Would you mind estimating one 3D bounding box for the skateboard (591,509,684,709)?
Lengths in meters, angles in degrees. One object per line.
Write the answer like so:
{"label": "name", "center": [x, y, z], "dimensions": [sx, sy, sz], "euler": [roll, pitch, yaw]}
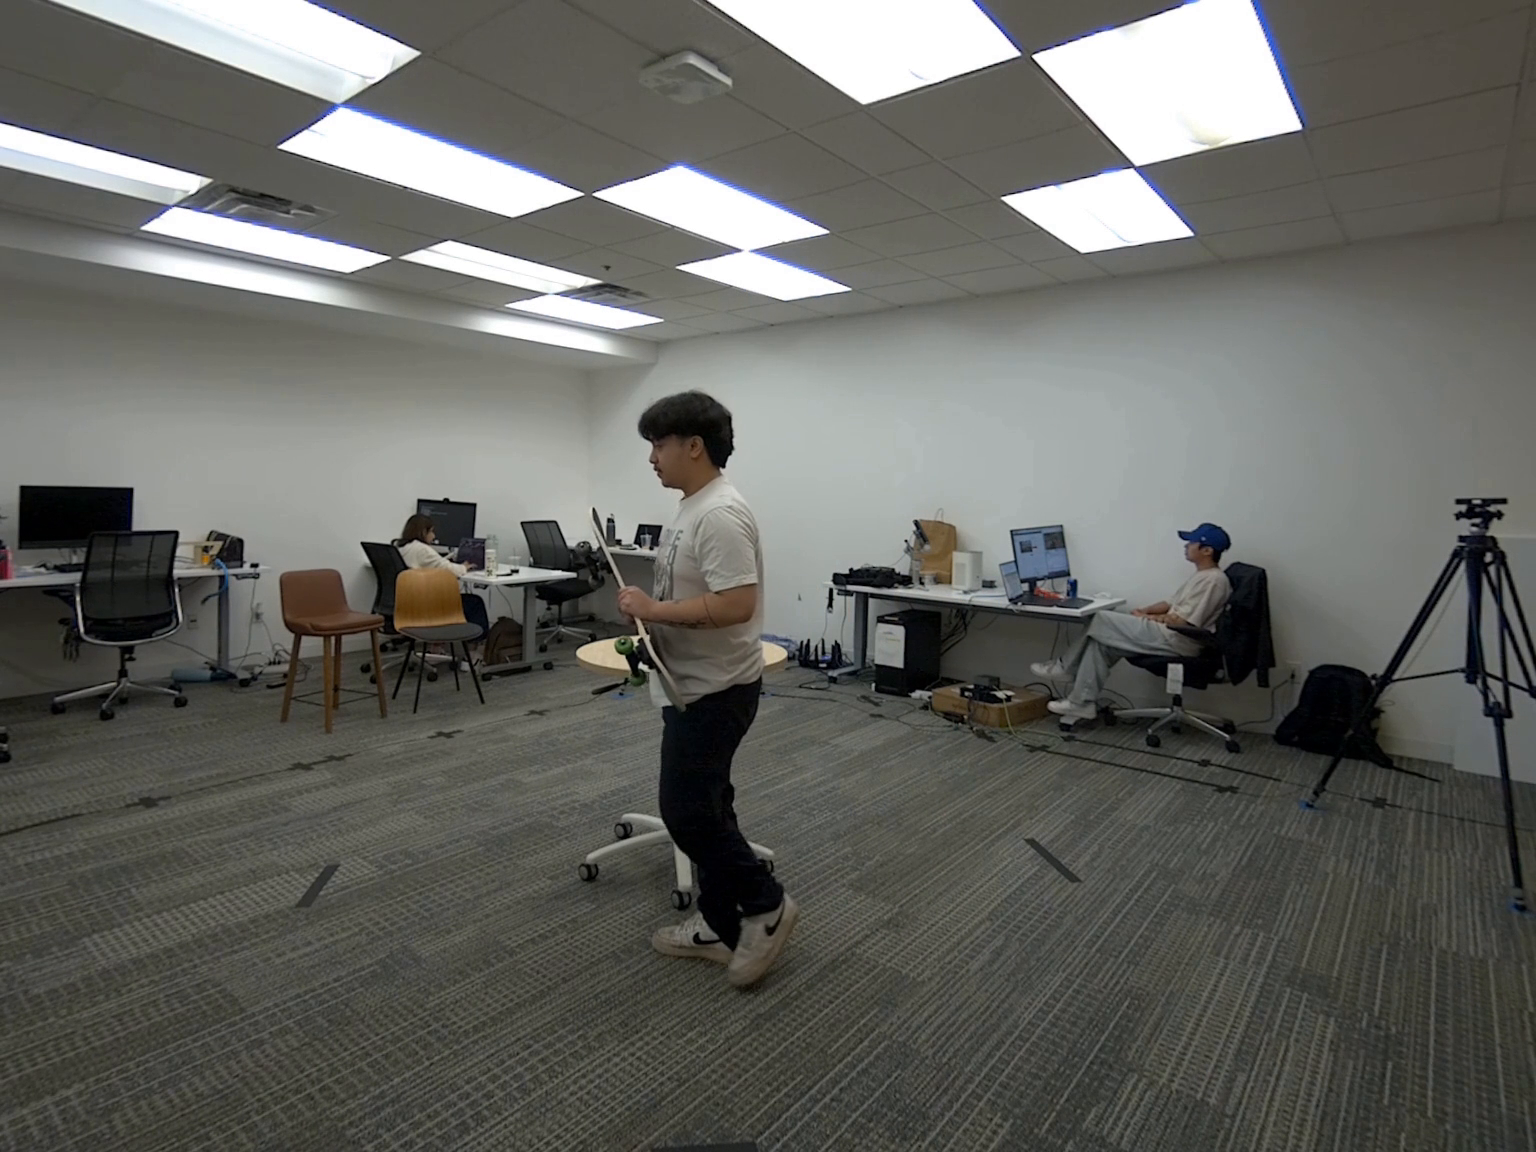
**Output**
{"label": "skateboard", "center": [-0.441, 0.087, 2.454], "dimensions": [0.110, 0.187, 0.818], "euler": [-24, 49, -10]}
